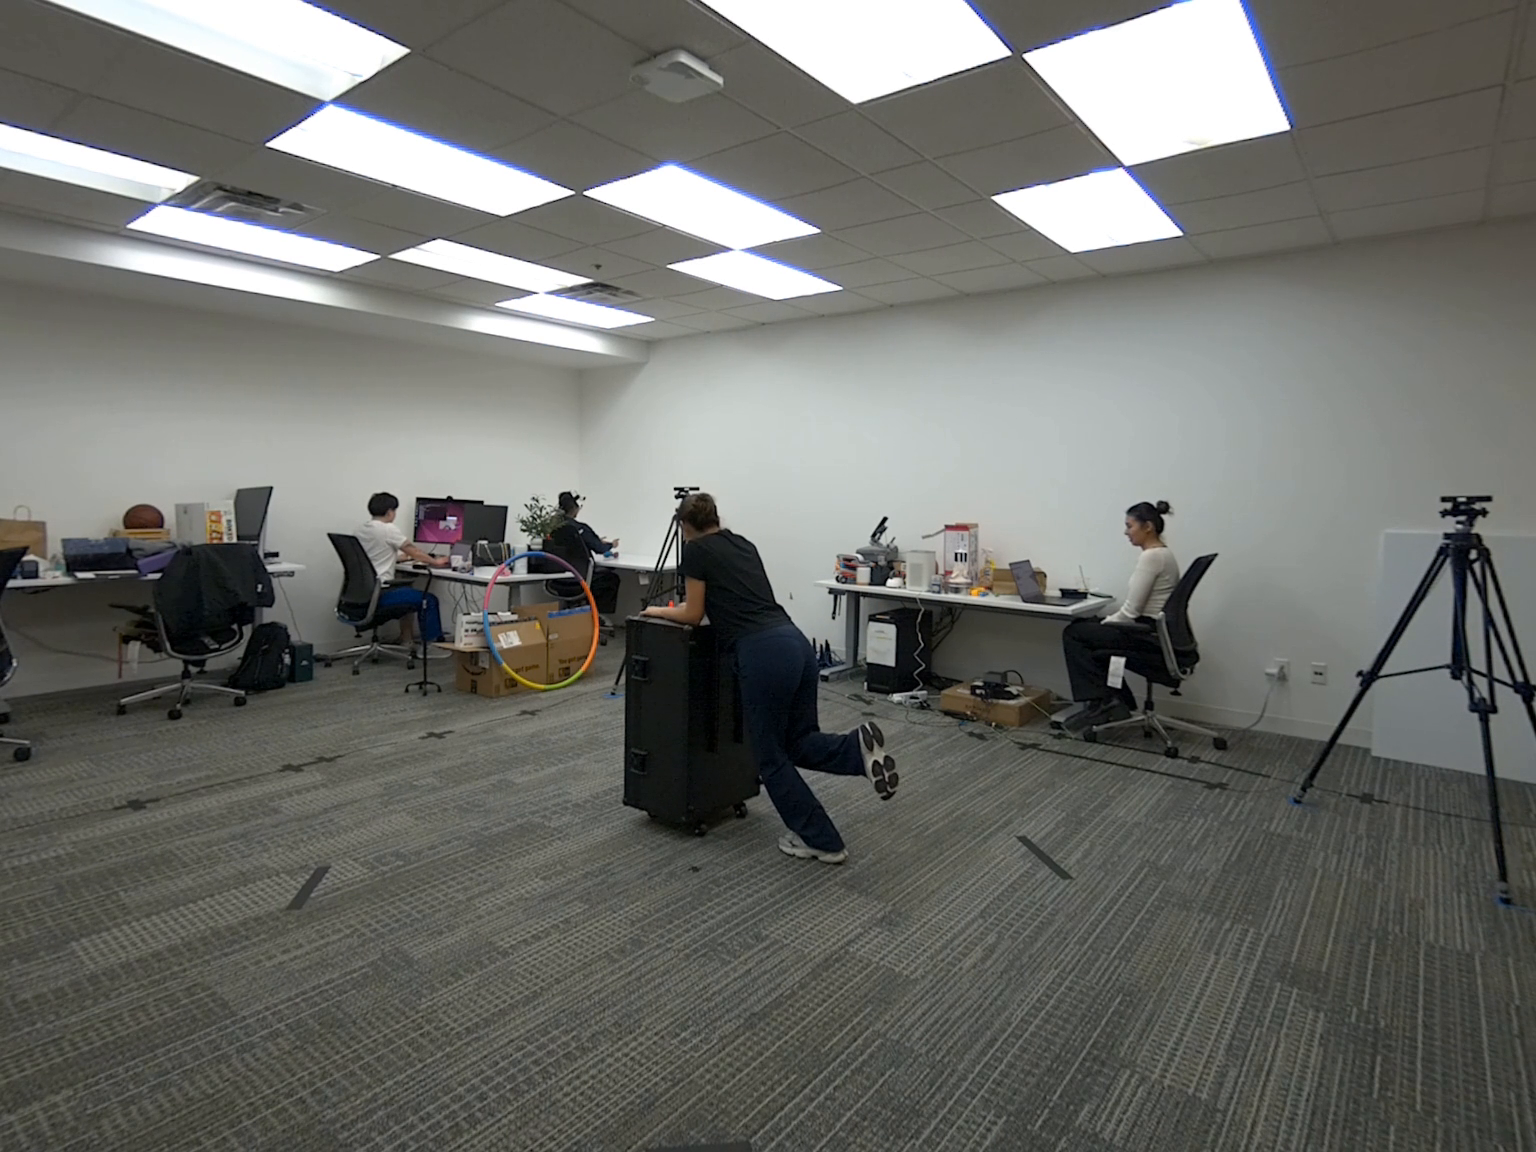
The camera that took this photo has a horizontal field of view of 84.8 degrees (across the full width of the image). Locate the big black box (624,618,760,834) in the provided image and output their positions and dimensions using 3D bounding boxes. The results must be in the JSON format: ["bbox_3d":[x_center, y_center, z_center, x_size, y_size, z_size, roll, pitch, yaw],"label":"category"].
[{"bbox_3d":[-0.289,0.536,3.598,0.409,0.859,0.506,3,4,39],"label":"big black box"}]
